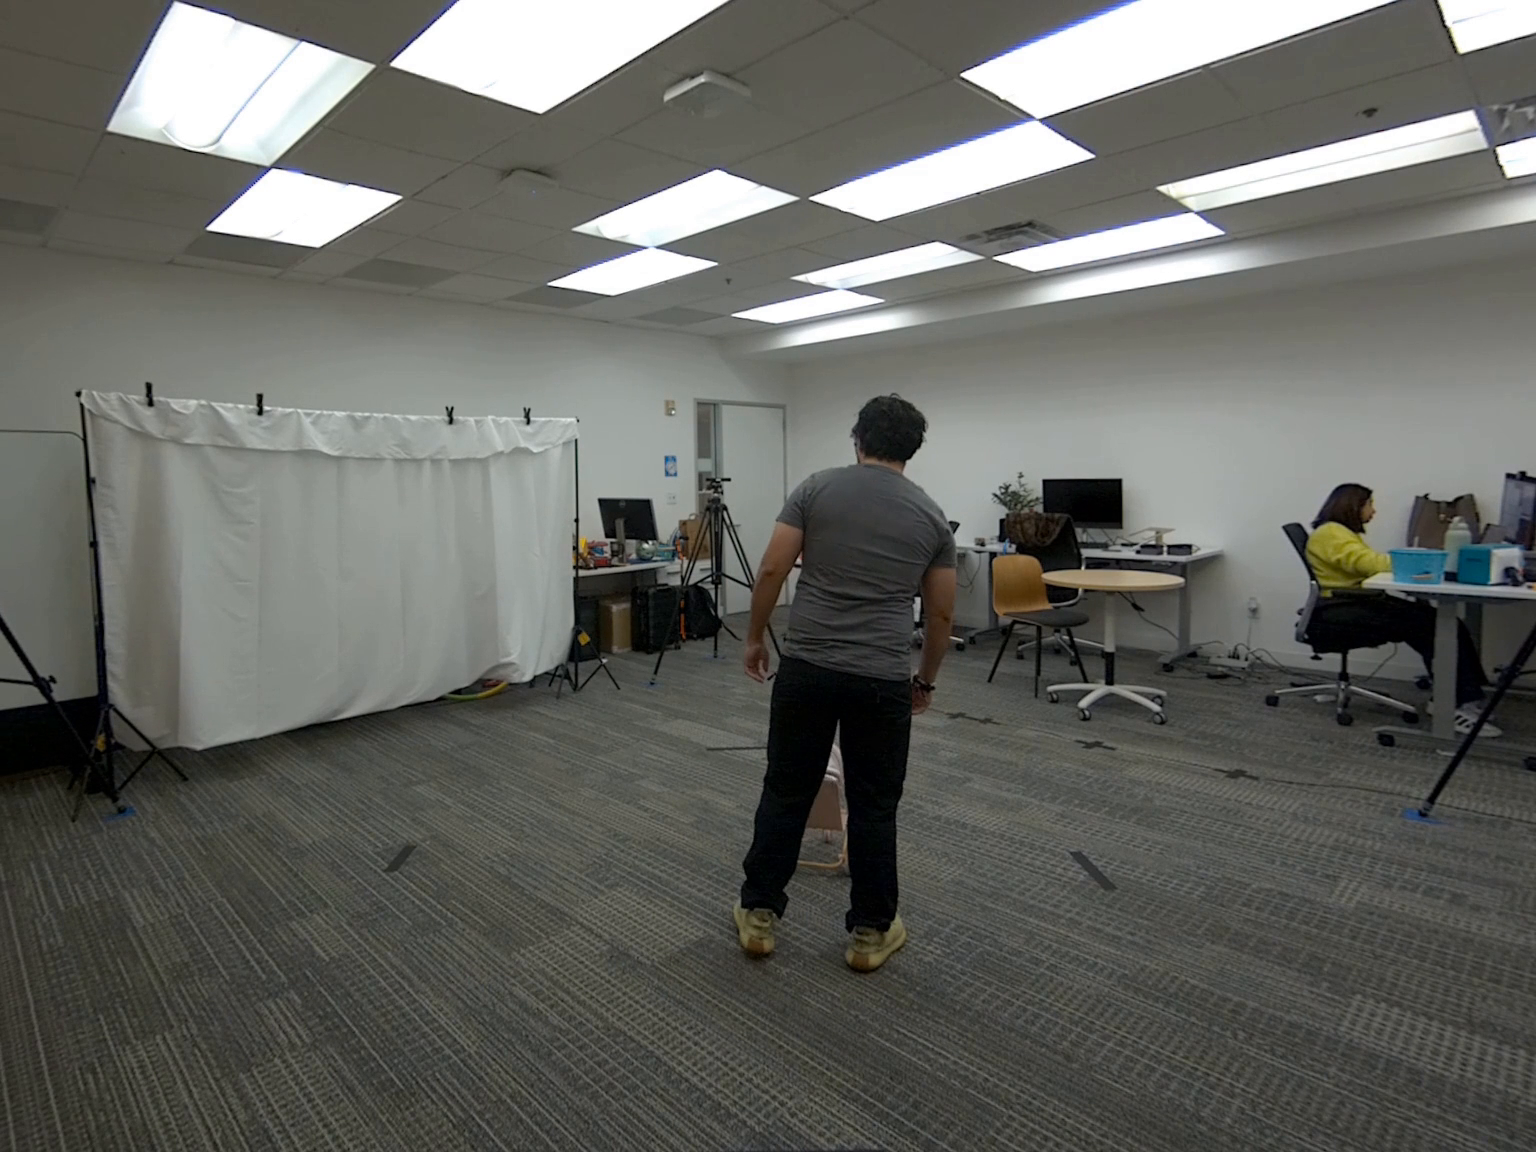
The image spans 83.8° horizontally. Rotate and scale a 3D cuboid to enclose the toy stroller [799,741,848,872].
[{"bbox_3d":[0.188,0.825,3.094,0.287,0.526,0.341,1,19,18],"label":"toy stroller"}]
